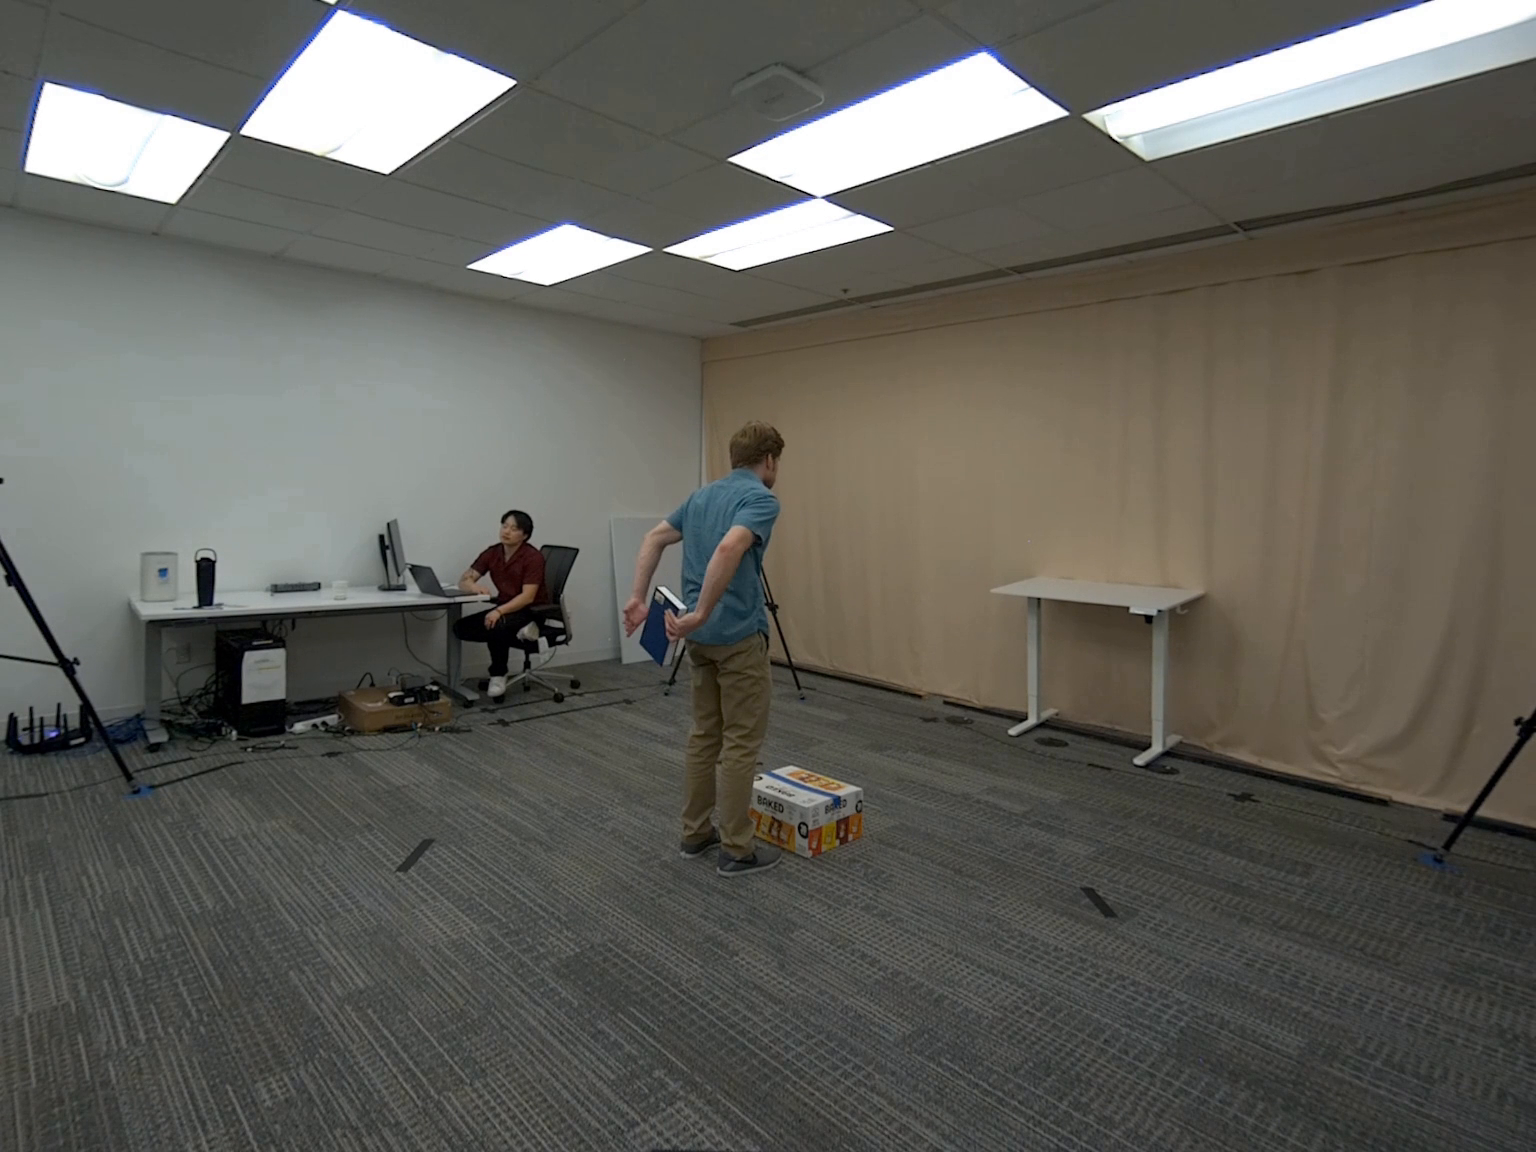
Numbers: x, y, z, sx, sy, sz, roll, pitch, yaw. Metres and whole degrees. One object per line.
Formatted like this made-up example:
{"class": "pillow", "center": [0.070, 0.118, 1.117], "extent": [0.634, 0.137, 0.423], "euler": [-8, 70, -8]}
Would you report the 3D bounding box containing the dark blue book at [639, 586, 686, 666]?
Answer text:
{"class": "dark blue book", "center": [-0.386, 0.181, 3.023], "extent": [0.044, 0.243, 0.169], "euler": [-2, 29, -41]}
